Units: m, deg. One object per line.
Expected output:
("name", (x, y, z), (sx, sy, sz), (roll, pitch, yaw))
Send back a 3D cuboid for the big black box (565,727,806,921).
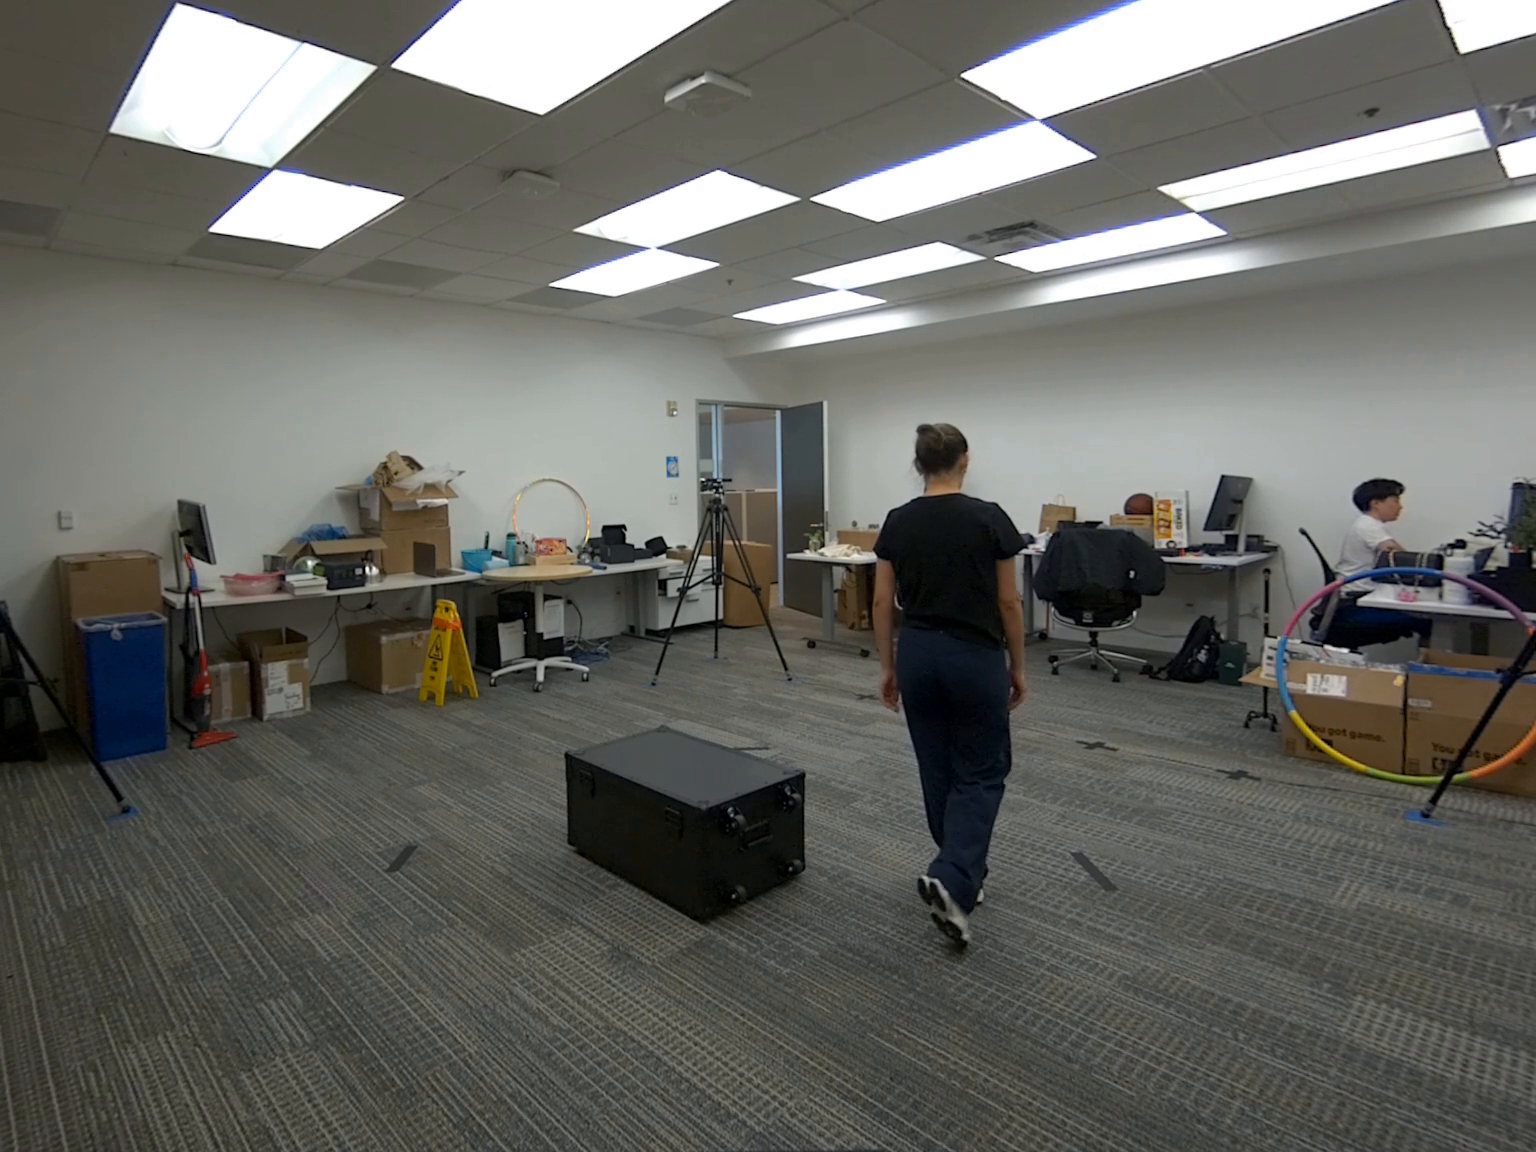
("big black box", (-0.297, 0.860, 3.095), (0.507, 0.394, 0.888), (-6, 8, -44))
